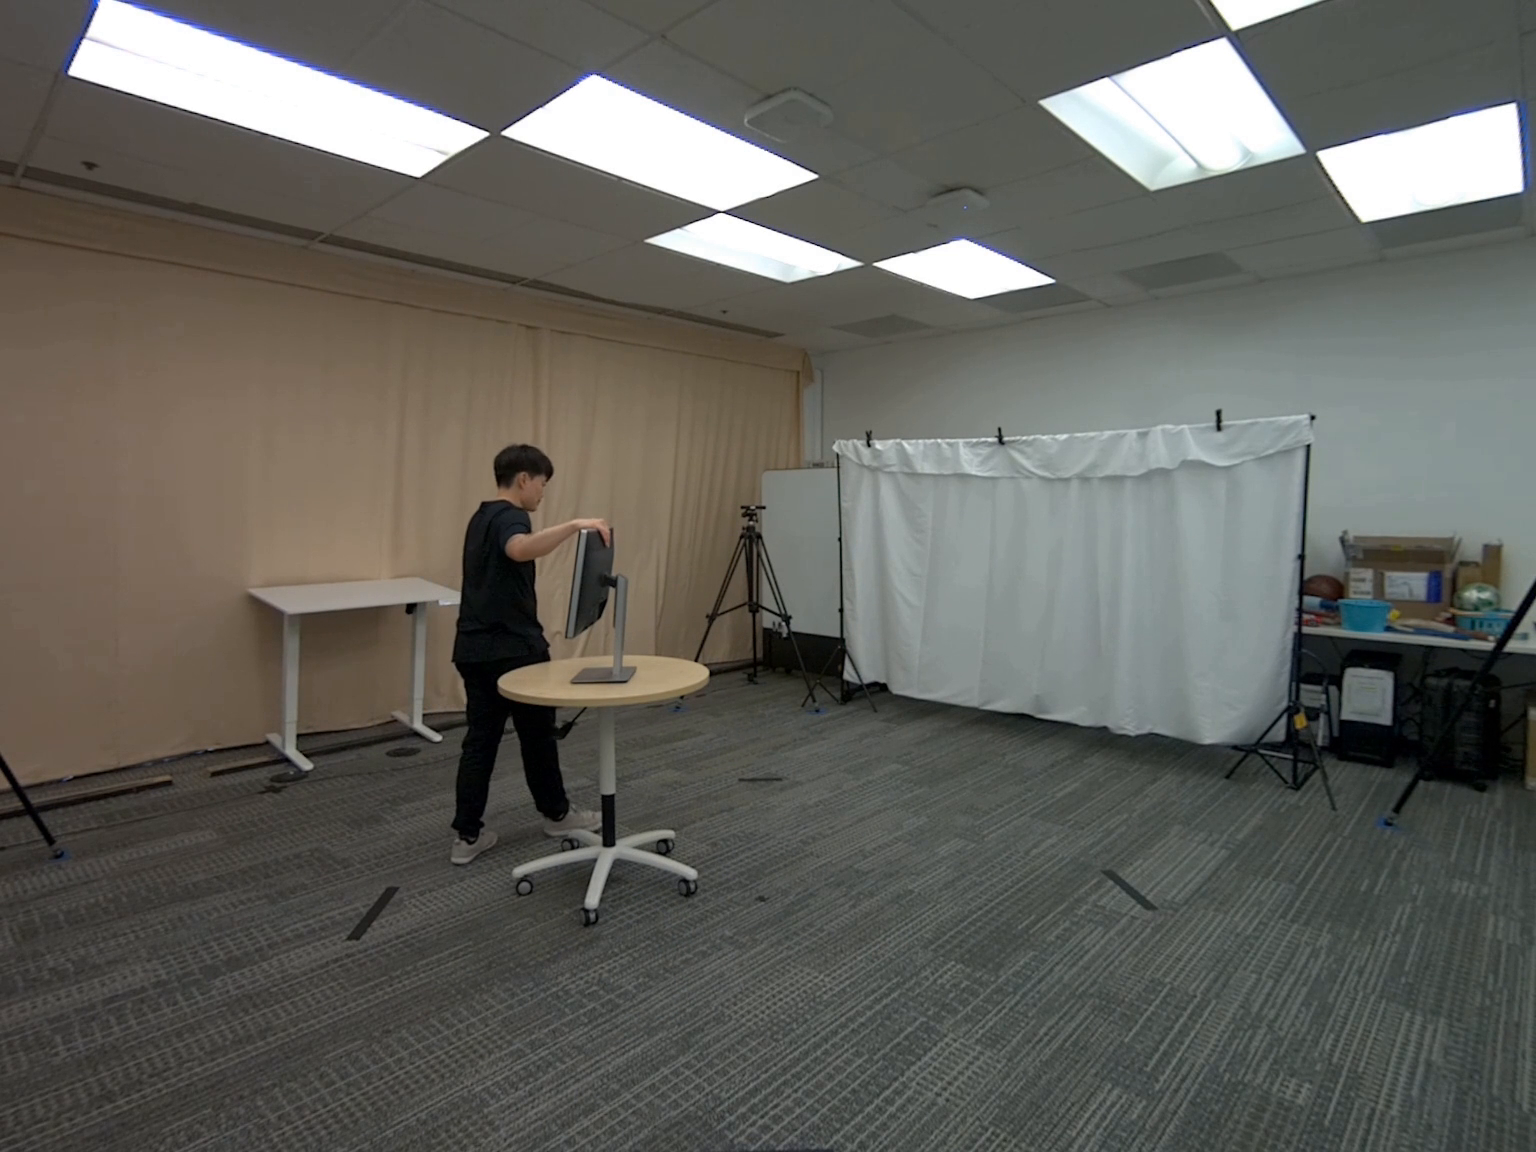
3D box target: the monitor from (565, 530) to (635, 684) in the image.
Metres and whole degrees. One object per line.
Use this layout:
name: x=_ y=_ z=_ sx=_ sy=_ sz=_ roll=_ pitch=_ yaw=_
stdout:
monitor: x=-0.593 y=0.102 z=3.035 sx=0.187 sy=0.521 sz=0.541 roll=-3 pitch=4 yaw=-3
